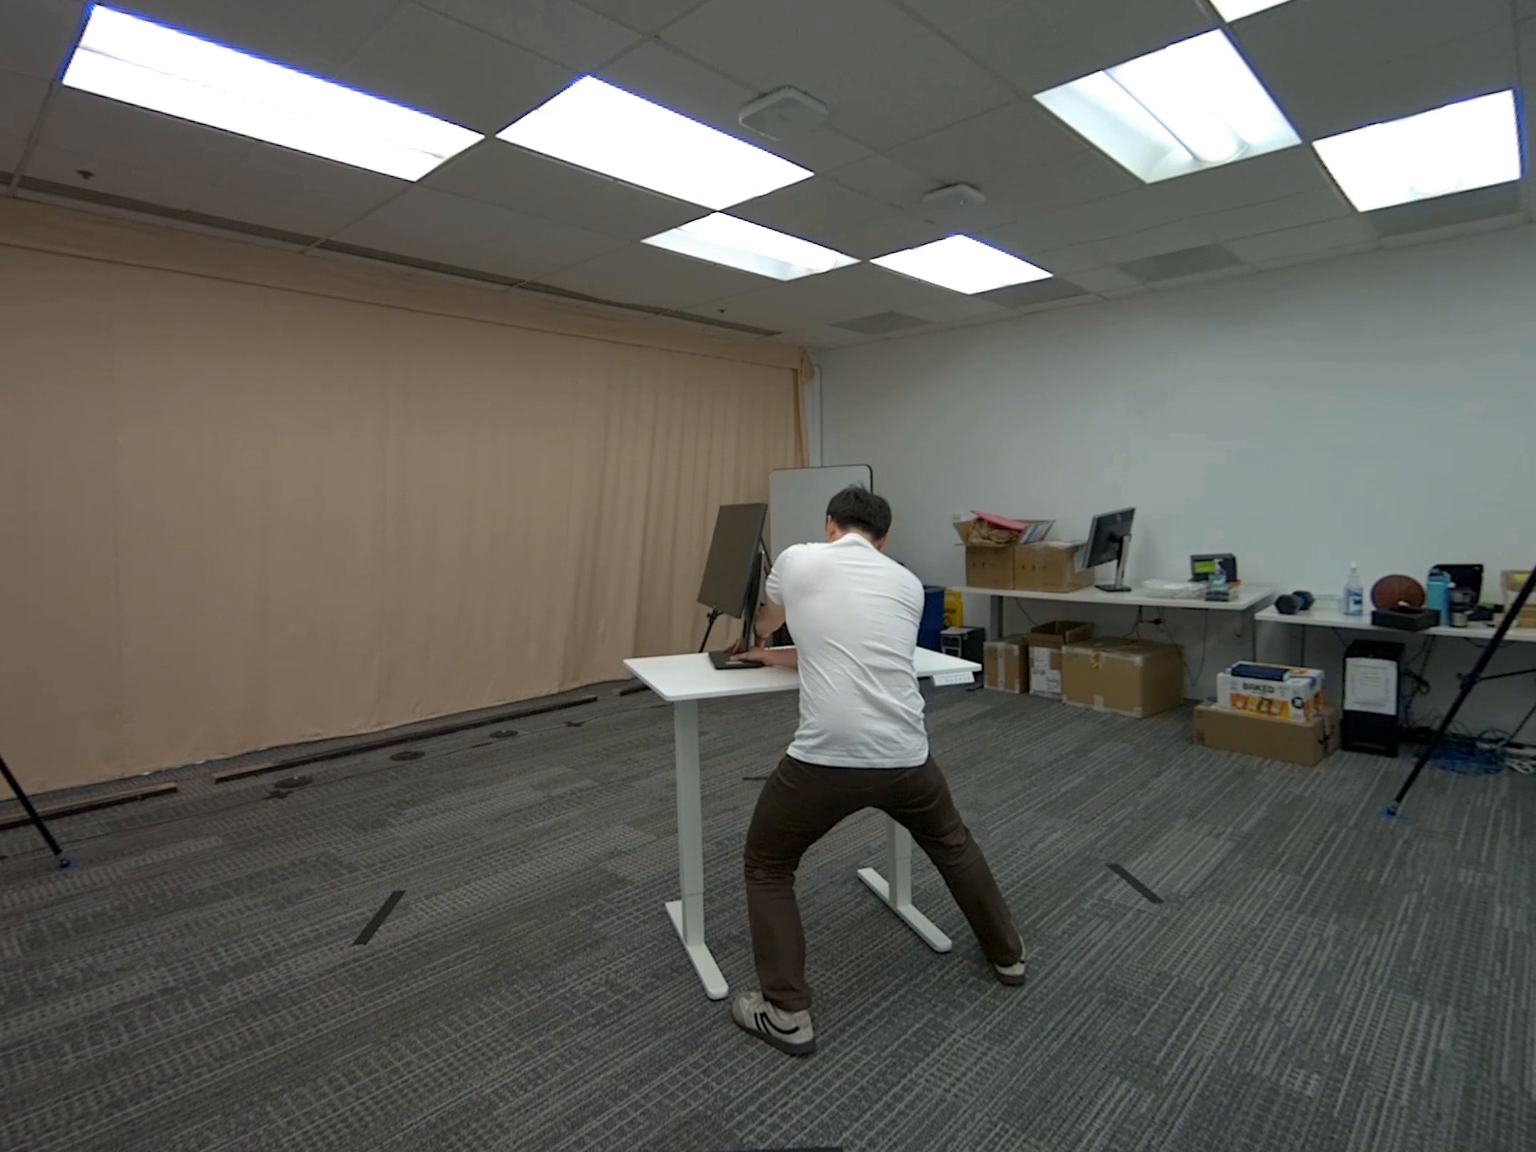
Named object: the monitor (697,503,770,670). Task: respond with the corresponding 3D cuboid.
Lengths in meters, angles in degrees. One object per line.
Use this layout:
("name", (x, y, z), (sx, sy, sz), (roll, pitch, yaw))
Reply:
("monitor", (-0.091, 0.025, 2.751), (0.183, 0.522, 0.550), (-1, 3, -20))
